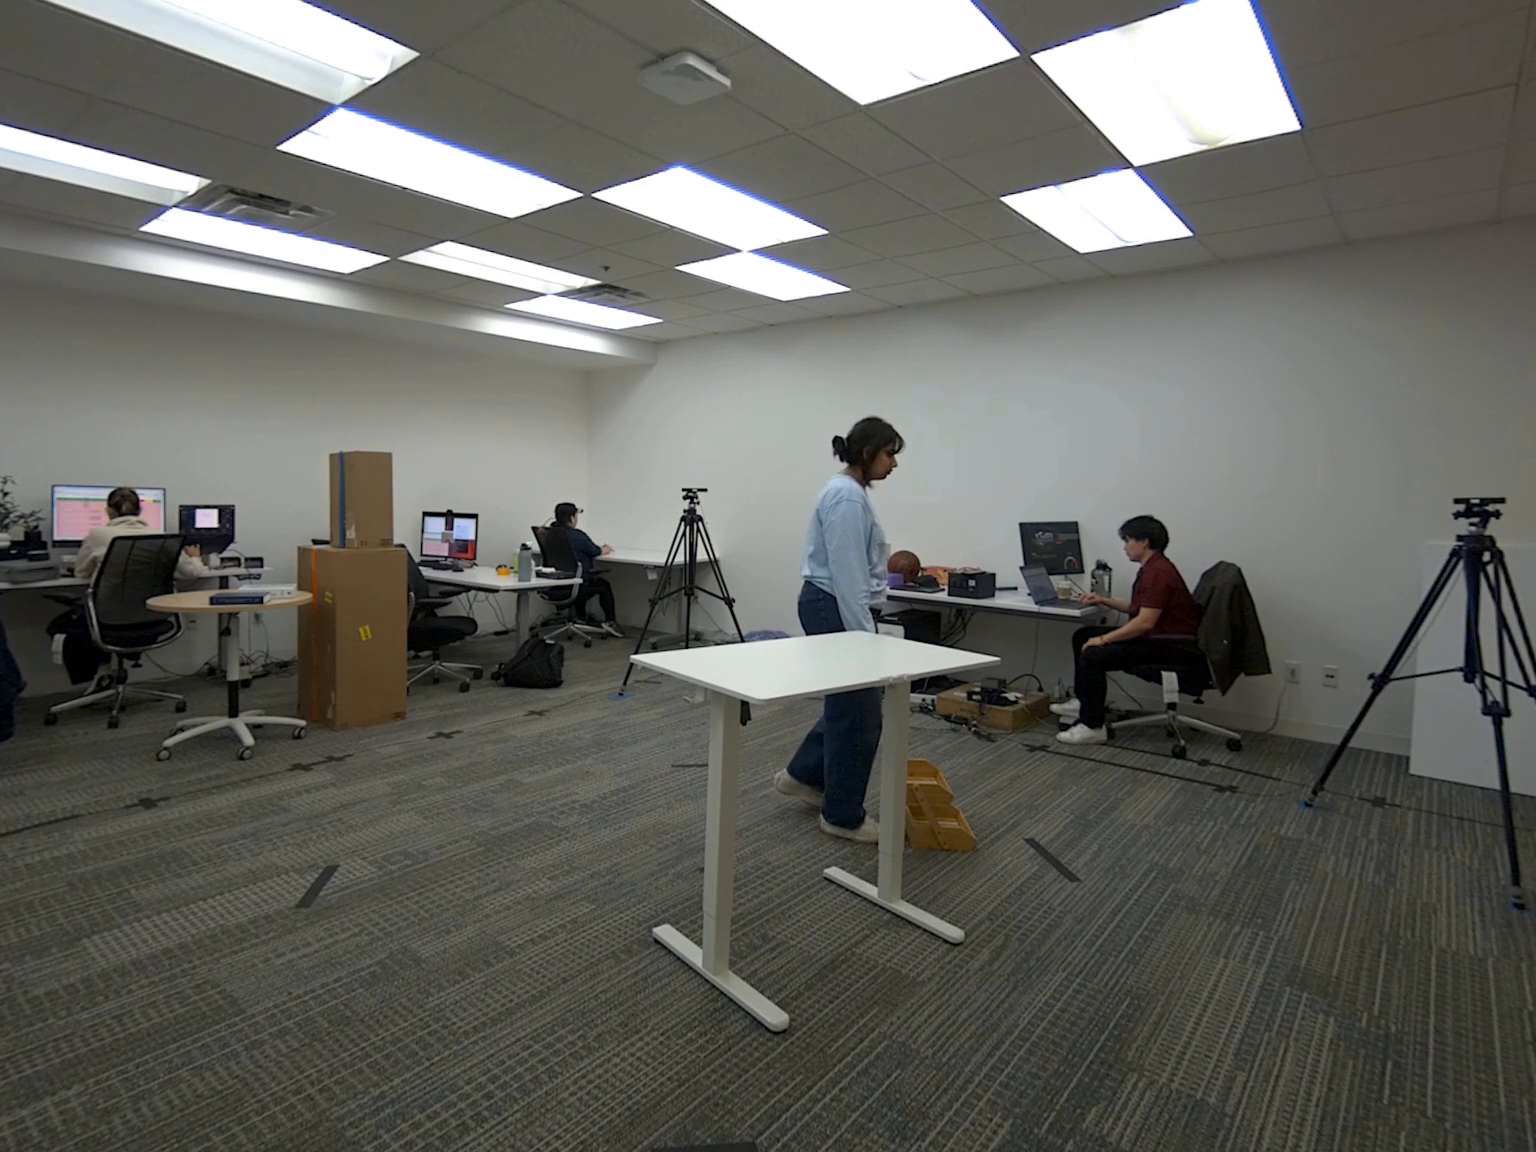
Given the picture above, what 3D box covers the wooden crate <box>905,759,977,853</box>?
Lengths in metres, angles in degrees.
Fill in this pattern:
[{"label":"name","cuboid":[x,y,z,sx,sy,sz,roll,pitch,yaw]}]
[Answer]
[{"label":"wooden crate","cuboid":[0.671,0.924,3.478,0.303,0.272,0.324,0,5,2]}]
